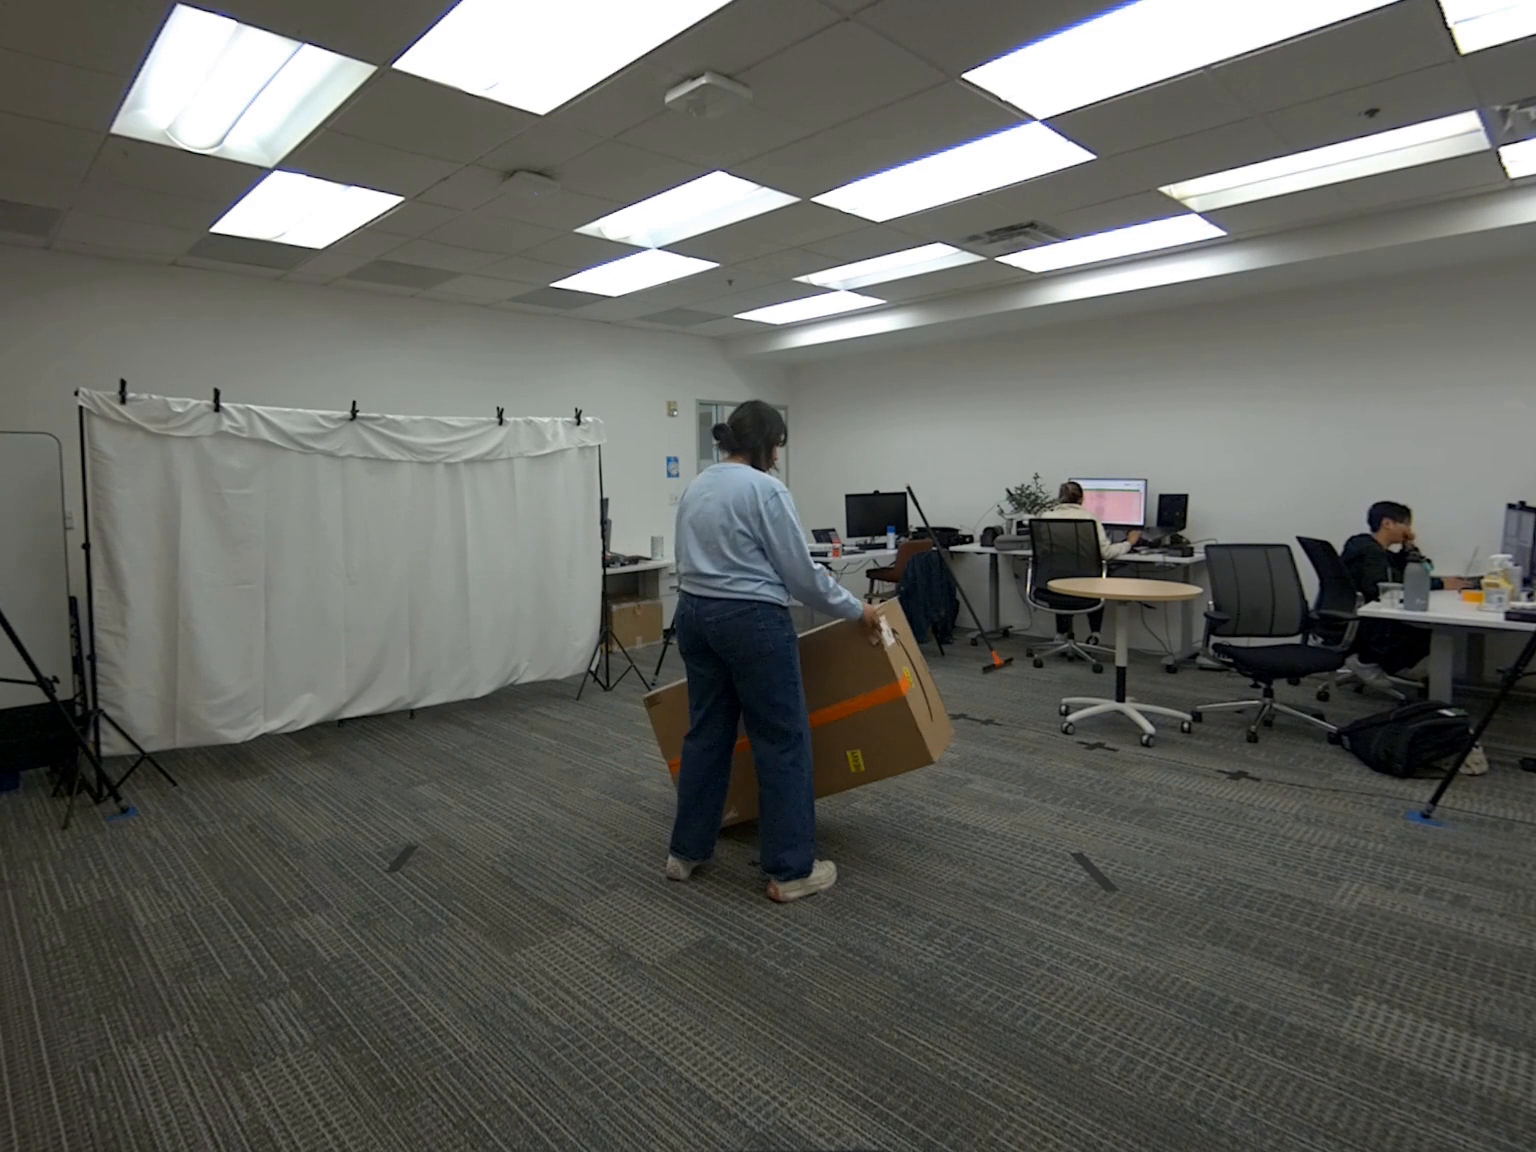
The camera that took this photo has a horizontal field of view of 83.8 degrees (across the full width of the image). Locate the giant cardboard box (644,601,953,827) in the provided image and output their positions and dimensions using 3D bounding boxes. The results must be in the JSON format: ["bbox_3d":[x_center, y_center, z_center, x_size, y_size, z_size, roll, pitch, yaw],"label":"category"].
[{"bbox_3d":[0.115,0.555,3.380,1.038,0.589,0.438,-24,-7,23],"label":"giant cardboard box"}]
